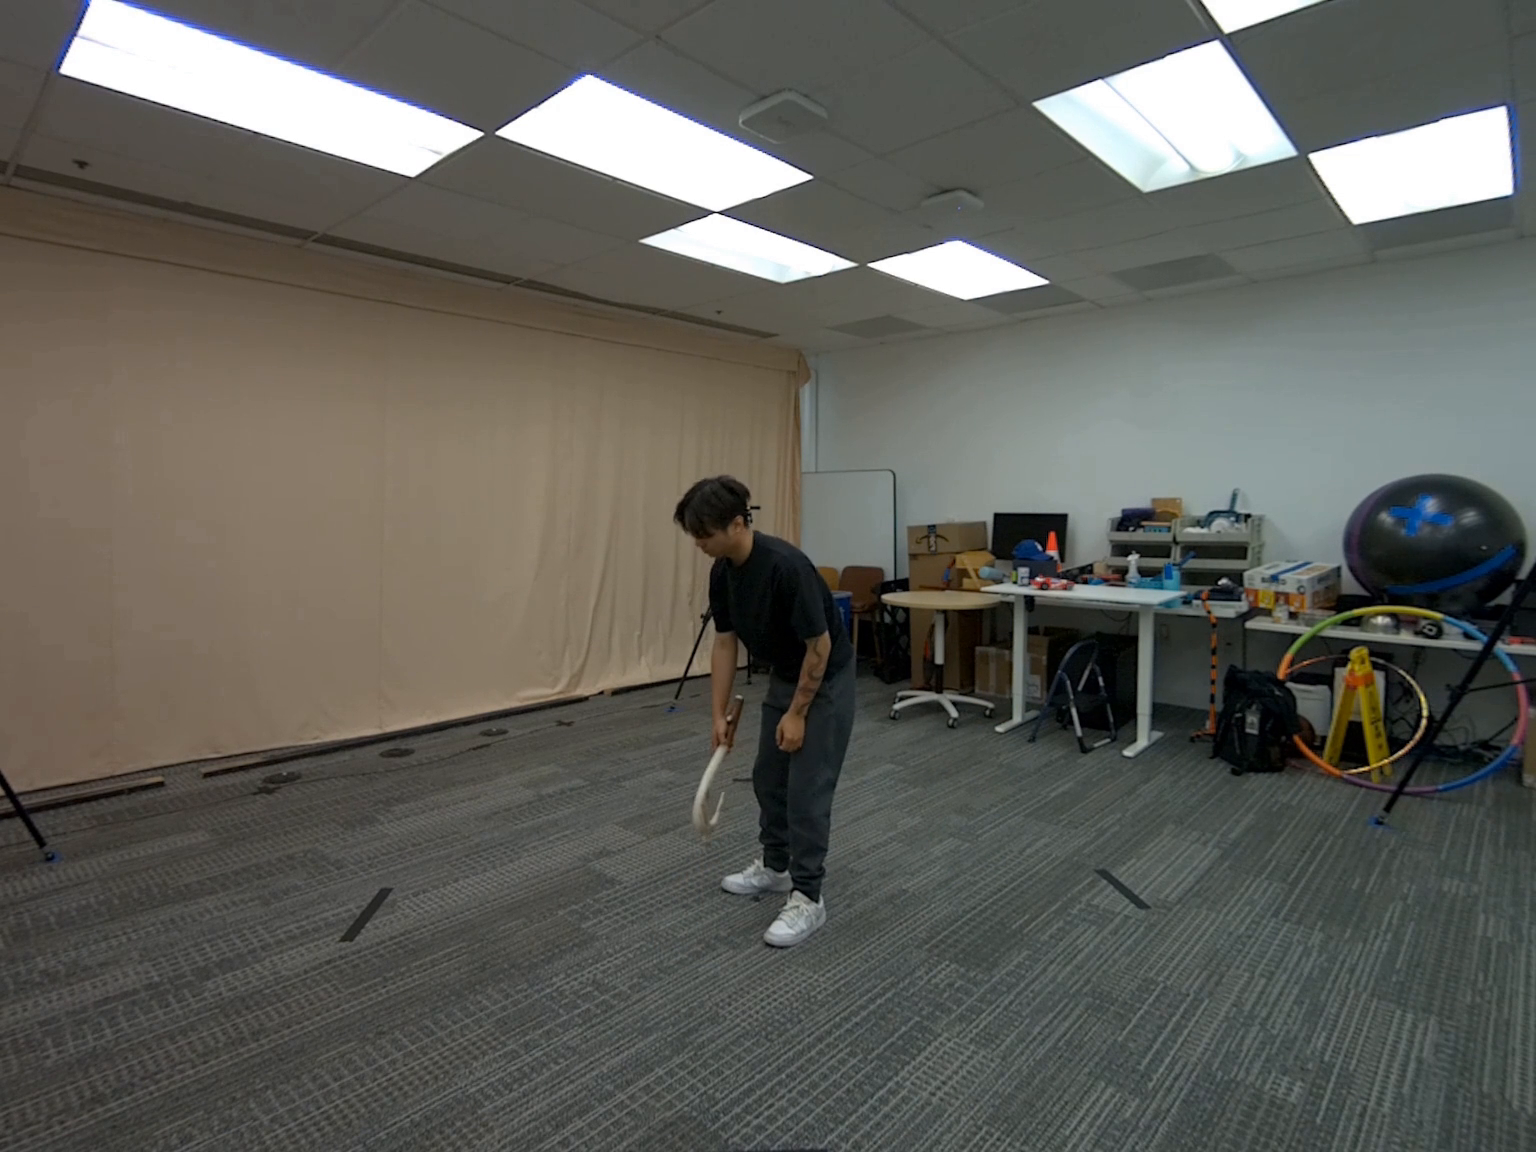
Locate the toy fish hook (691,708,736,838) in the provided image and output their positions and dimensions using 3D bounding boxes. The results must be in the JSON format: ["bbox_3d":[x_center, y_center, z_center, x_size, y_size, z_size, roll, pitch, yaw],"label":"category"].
[{"bbox_3d":[-0.156,0.676,2.939,0.049,0.508,0.218,8,-37,20],"label":"toy fish hook"}]
